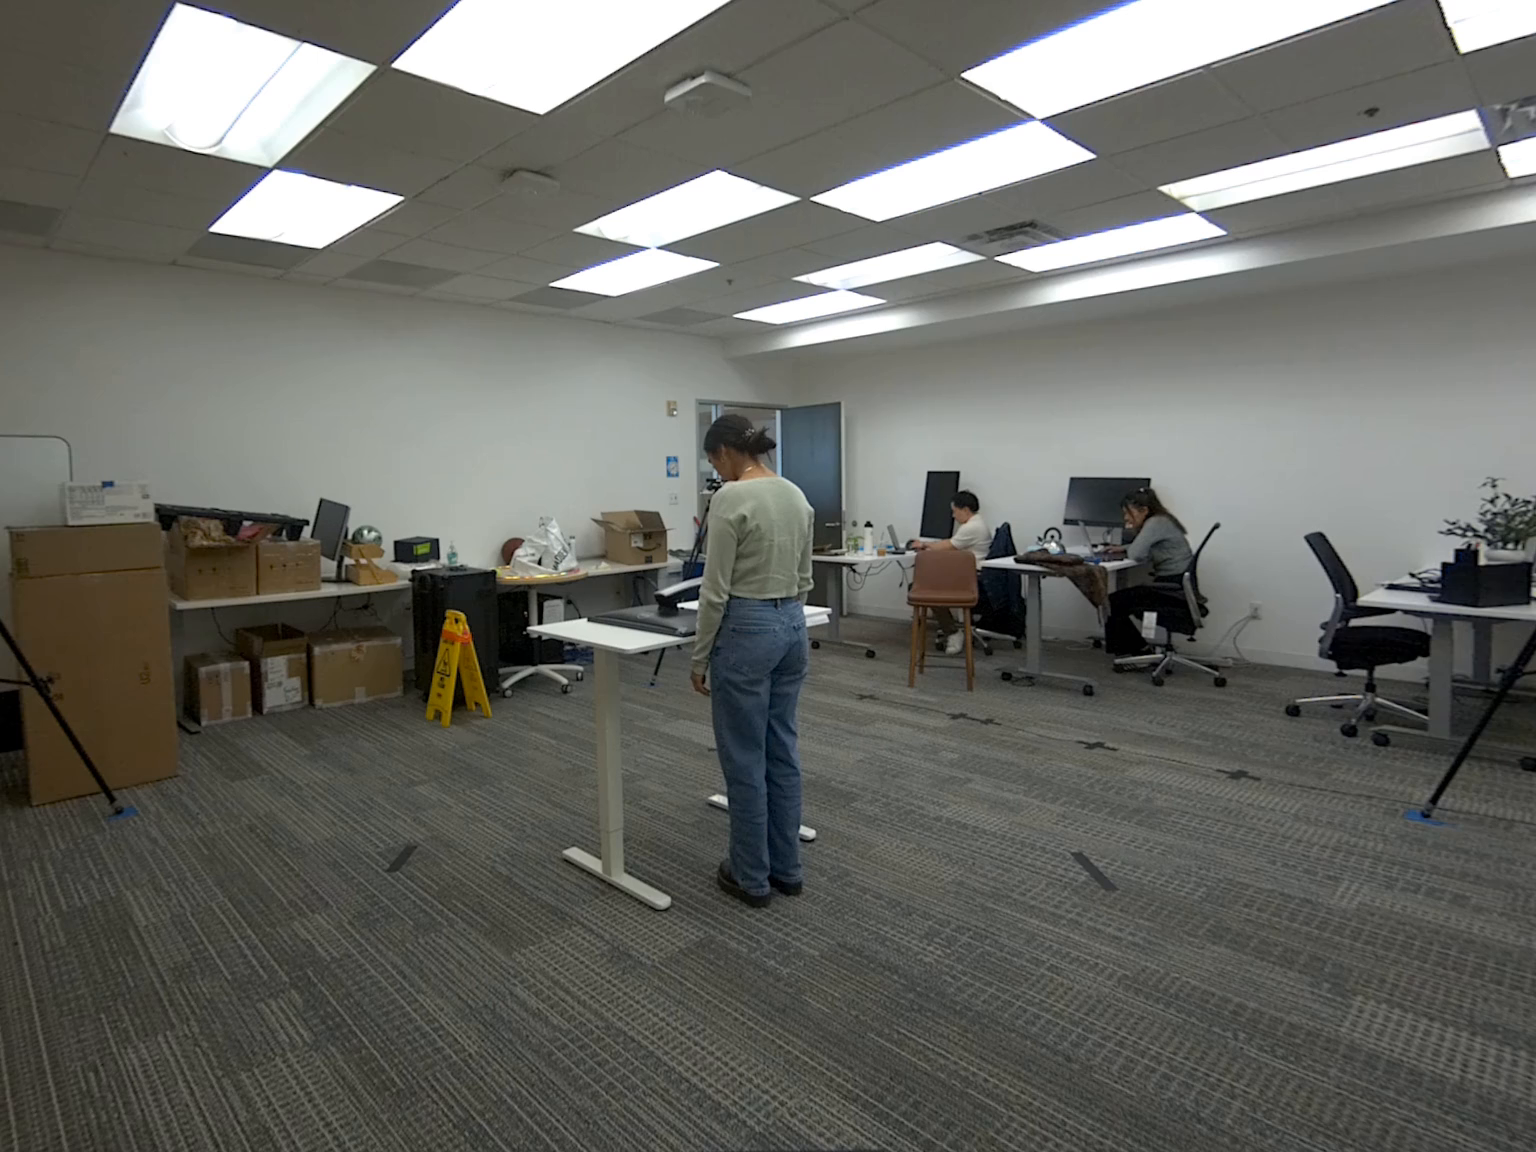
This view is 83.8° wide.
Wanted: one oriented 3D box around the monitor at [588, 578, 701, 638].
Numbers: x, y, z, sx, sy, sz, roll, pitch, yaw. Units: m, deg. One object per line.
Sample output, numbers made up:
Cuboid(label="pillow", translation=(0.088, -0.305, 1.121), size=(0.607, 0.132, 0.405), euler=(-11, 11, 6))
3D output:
Cuboid(label="monitor", translation=(-0.302, 0.102, 3.153), size=(0.555, 0.184, 0.515), euler=(1, 20, 45))
